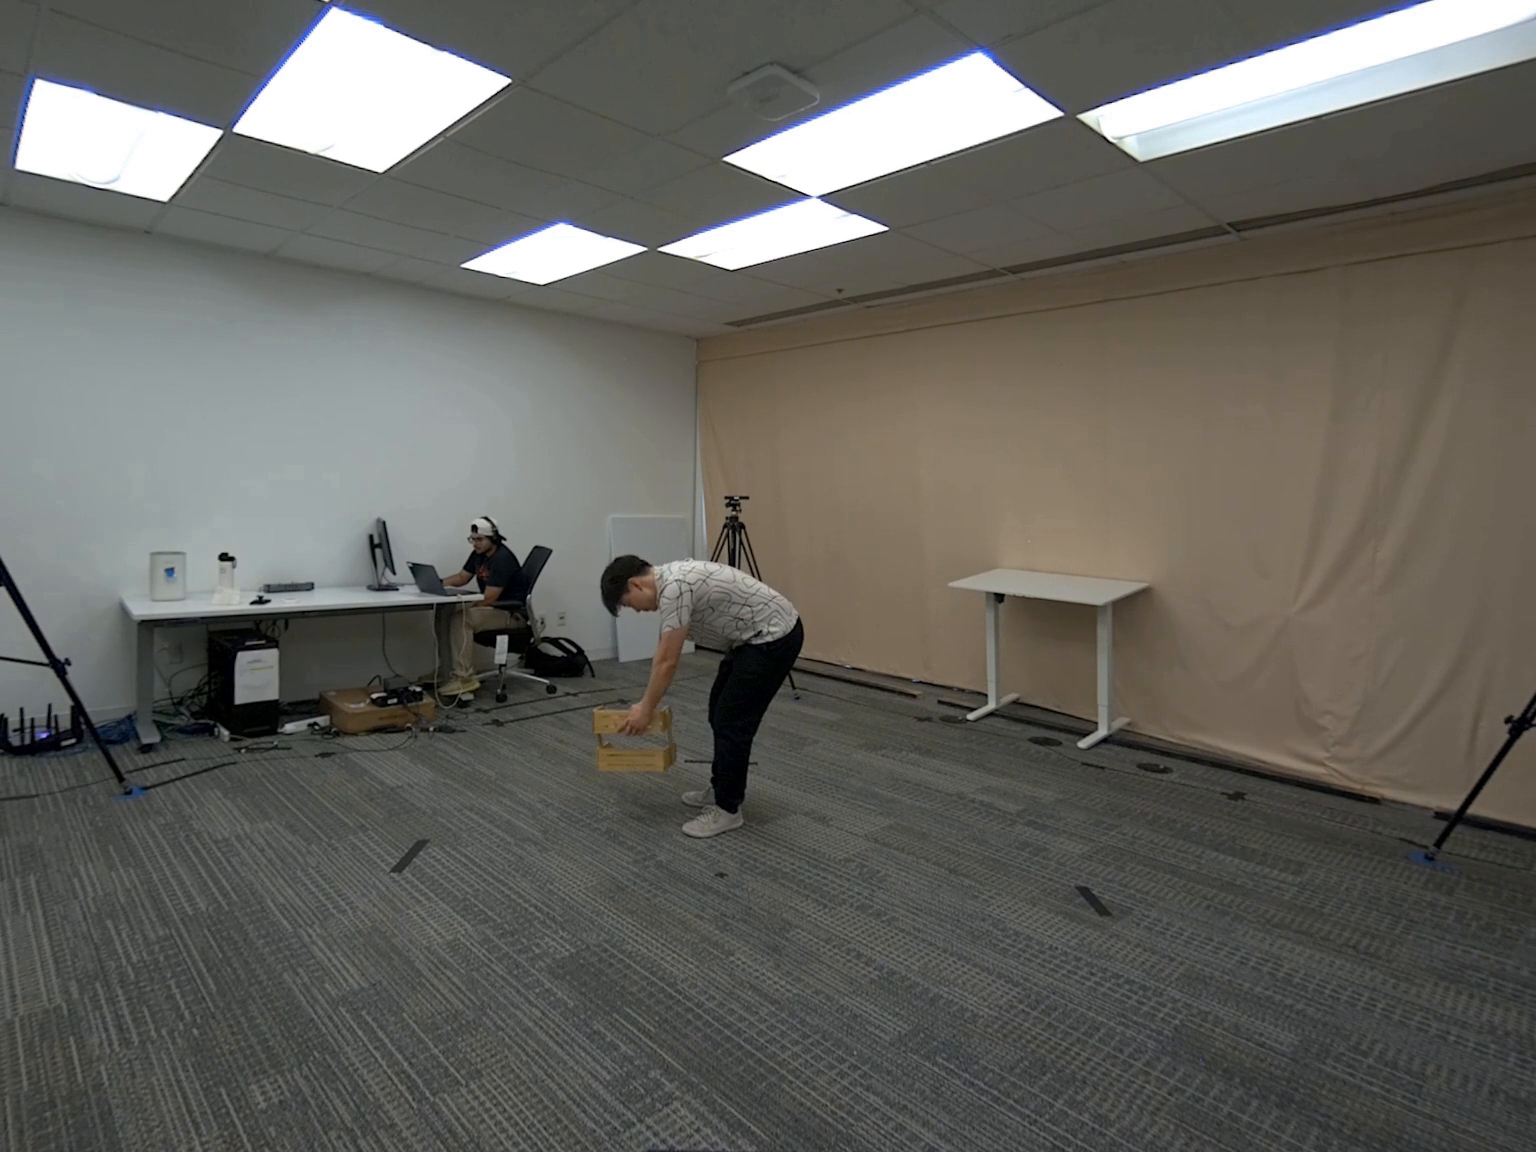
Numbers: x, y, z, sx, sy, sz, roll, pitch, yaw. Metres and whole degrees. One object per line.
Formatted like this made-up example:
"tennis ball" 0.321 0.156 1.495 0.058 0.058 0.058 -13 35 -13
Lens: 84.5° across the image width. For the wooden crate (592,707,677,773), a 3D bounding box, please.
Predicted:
"wooden crate" -0.569 0.681 3.632 0.326 0.274 0.300 -3 -2 5
